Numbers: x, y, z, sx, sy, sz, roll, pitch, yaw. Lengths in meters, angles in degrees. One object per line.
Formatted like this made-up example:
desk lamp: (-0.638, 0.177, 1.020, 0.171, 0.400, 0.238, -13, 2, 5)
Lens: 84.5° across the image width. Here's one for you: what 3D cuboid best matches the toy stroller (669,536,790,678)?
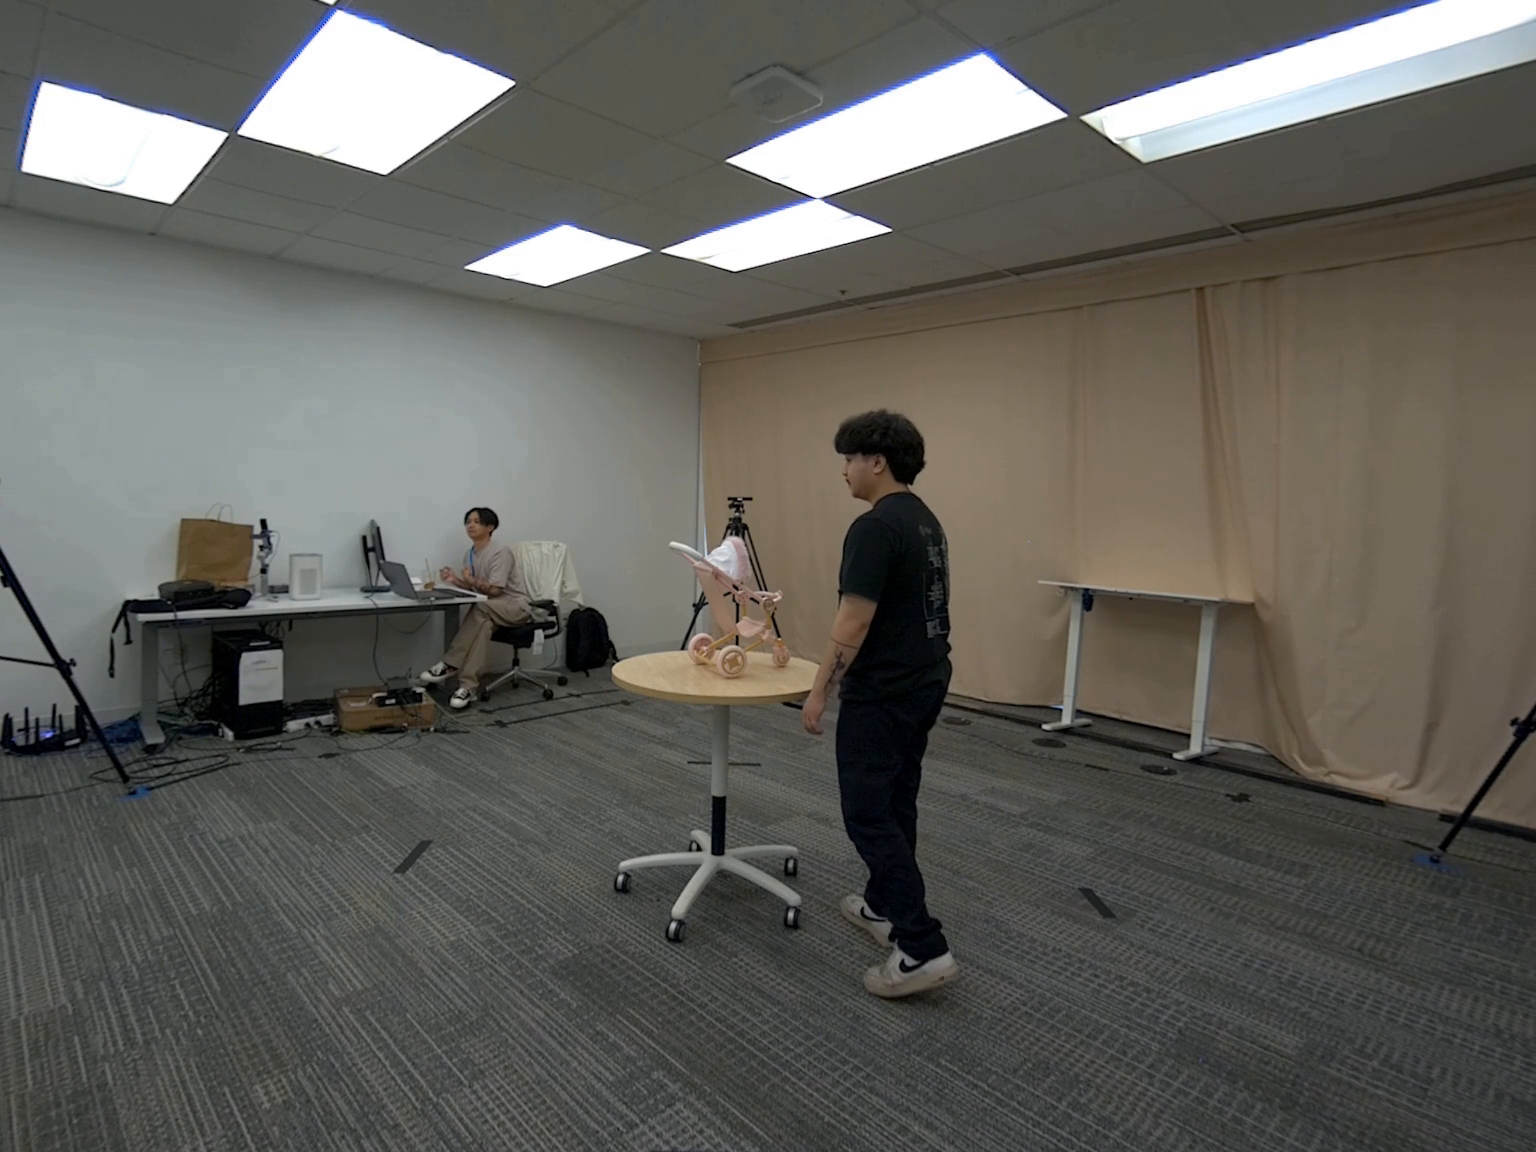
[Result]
toy stroller: (-0.115, 0.103, 2.934, 0.337, 0.531, 0.287, -14, 10, -21)
